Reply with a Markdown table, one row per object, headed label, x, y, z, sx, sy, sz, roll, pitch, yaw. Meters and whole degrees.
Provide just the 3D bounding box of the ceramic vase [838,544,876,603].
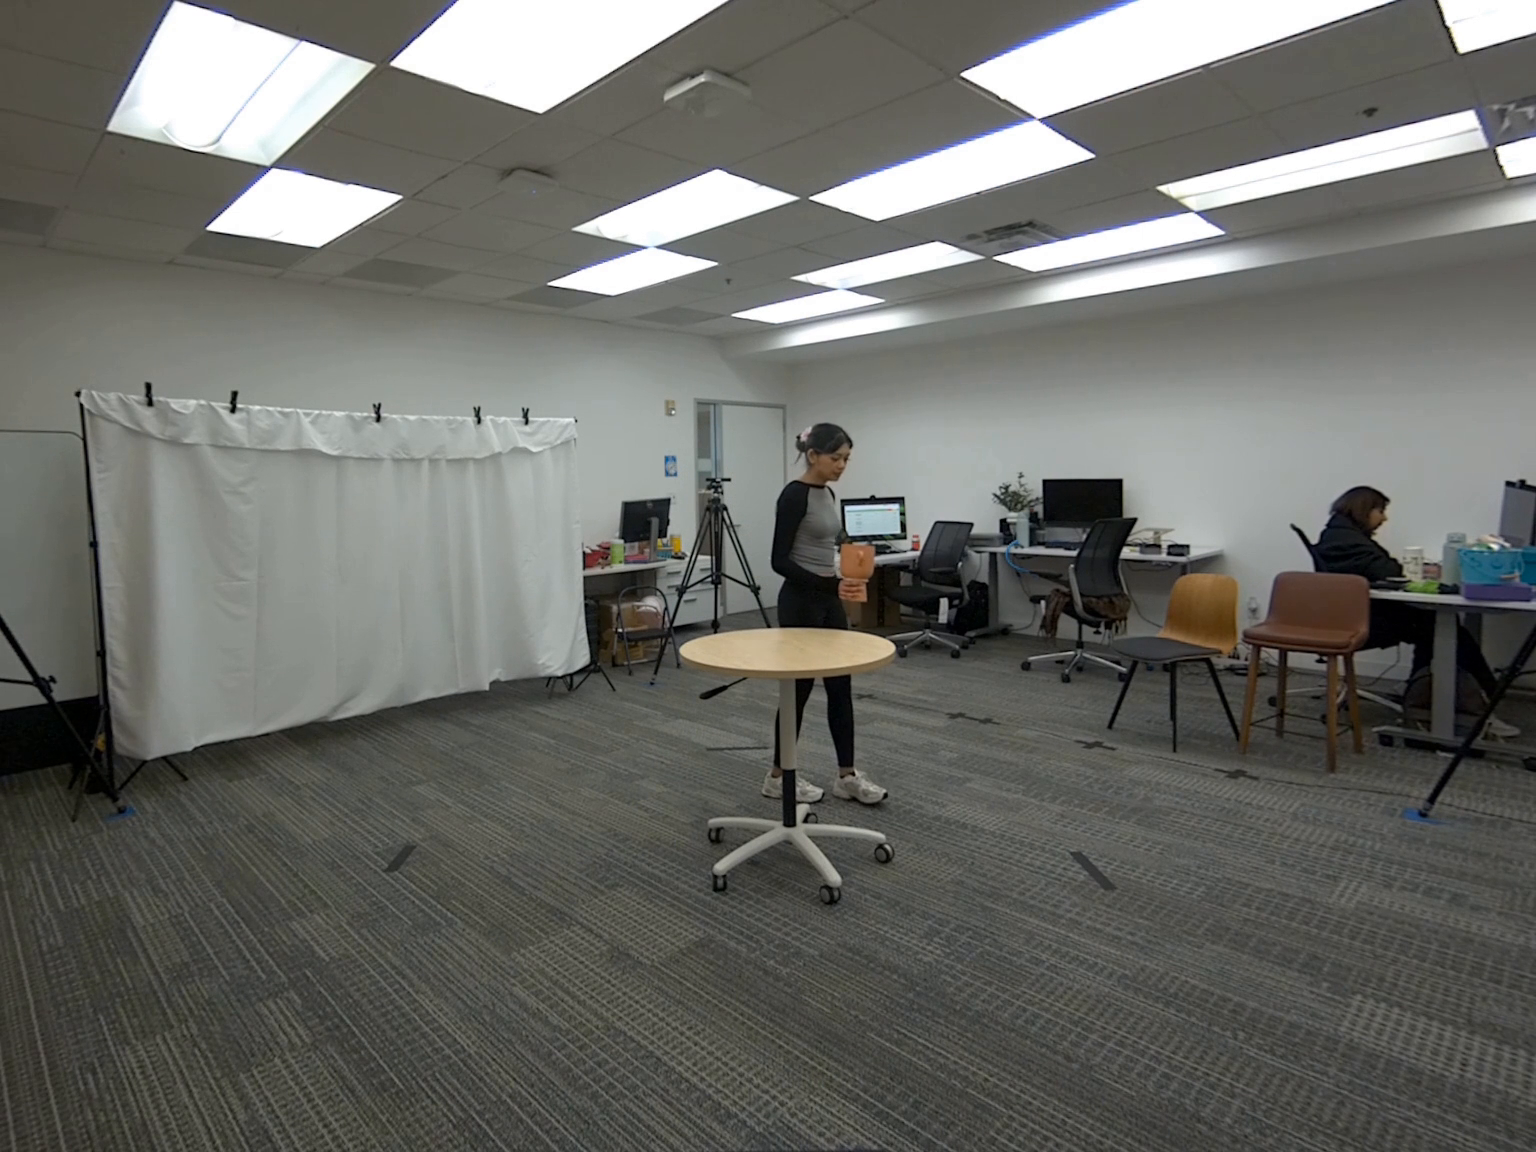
| label | x | y | z | sx | sy | sz | roll | pitch | yaw |
| --- | --- | --- | --- | --- | --- | --- | --- | --- | --- |
| ceramic vase | 0.347 | -0.010 | 3.395 | 0.139 | 0.220 | 0.154 | 4 | -1 | 39 |
